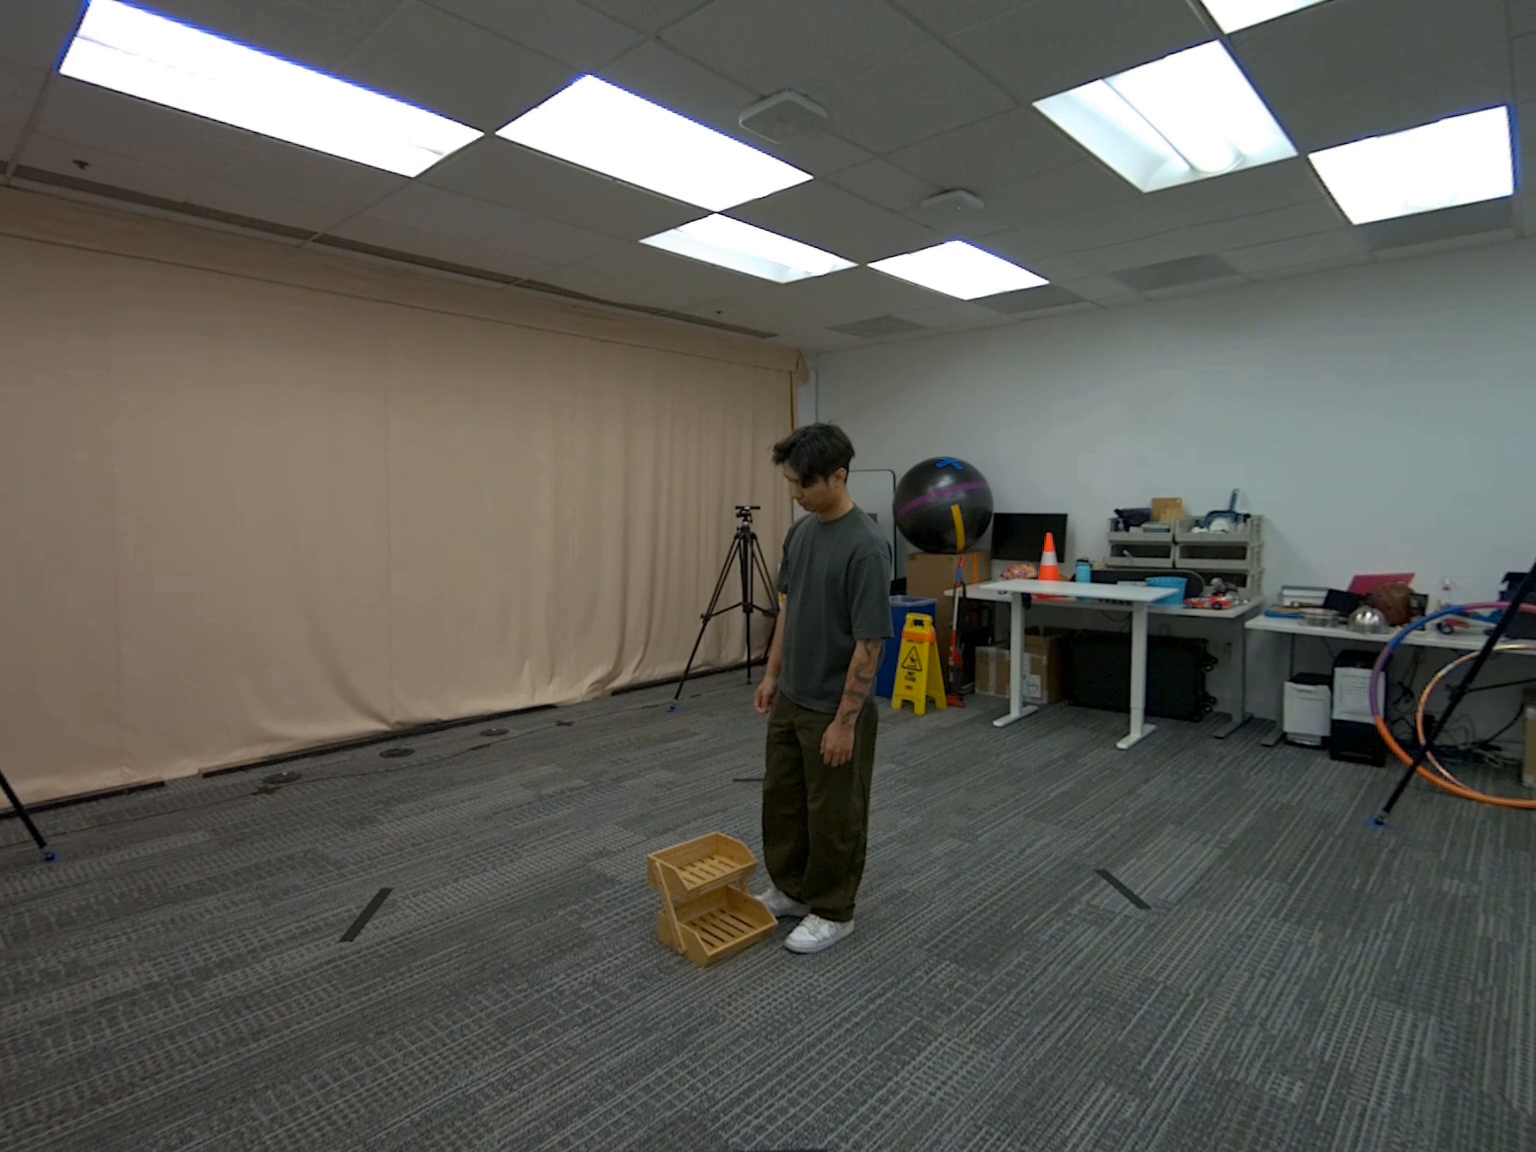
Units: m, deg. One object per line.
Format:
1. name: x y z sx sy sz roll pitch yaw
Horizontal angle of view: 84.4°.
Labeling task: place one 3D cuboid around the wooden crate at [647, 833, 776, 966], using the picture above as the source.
1. wooden crate: -0.177 1.038 2.725 0.314 0.273 0.312 -4 5 -43
